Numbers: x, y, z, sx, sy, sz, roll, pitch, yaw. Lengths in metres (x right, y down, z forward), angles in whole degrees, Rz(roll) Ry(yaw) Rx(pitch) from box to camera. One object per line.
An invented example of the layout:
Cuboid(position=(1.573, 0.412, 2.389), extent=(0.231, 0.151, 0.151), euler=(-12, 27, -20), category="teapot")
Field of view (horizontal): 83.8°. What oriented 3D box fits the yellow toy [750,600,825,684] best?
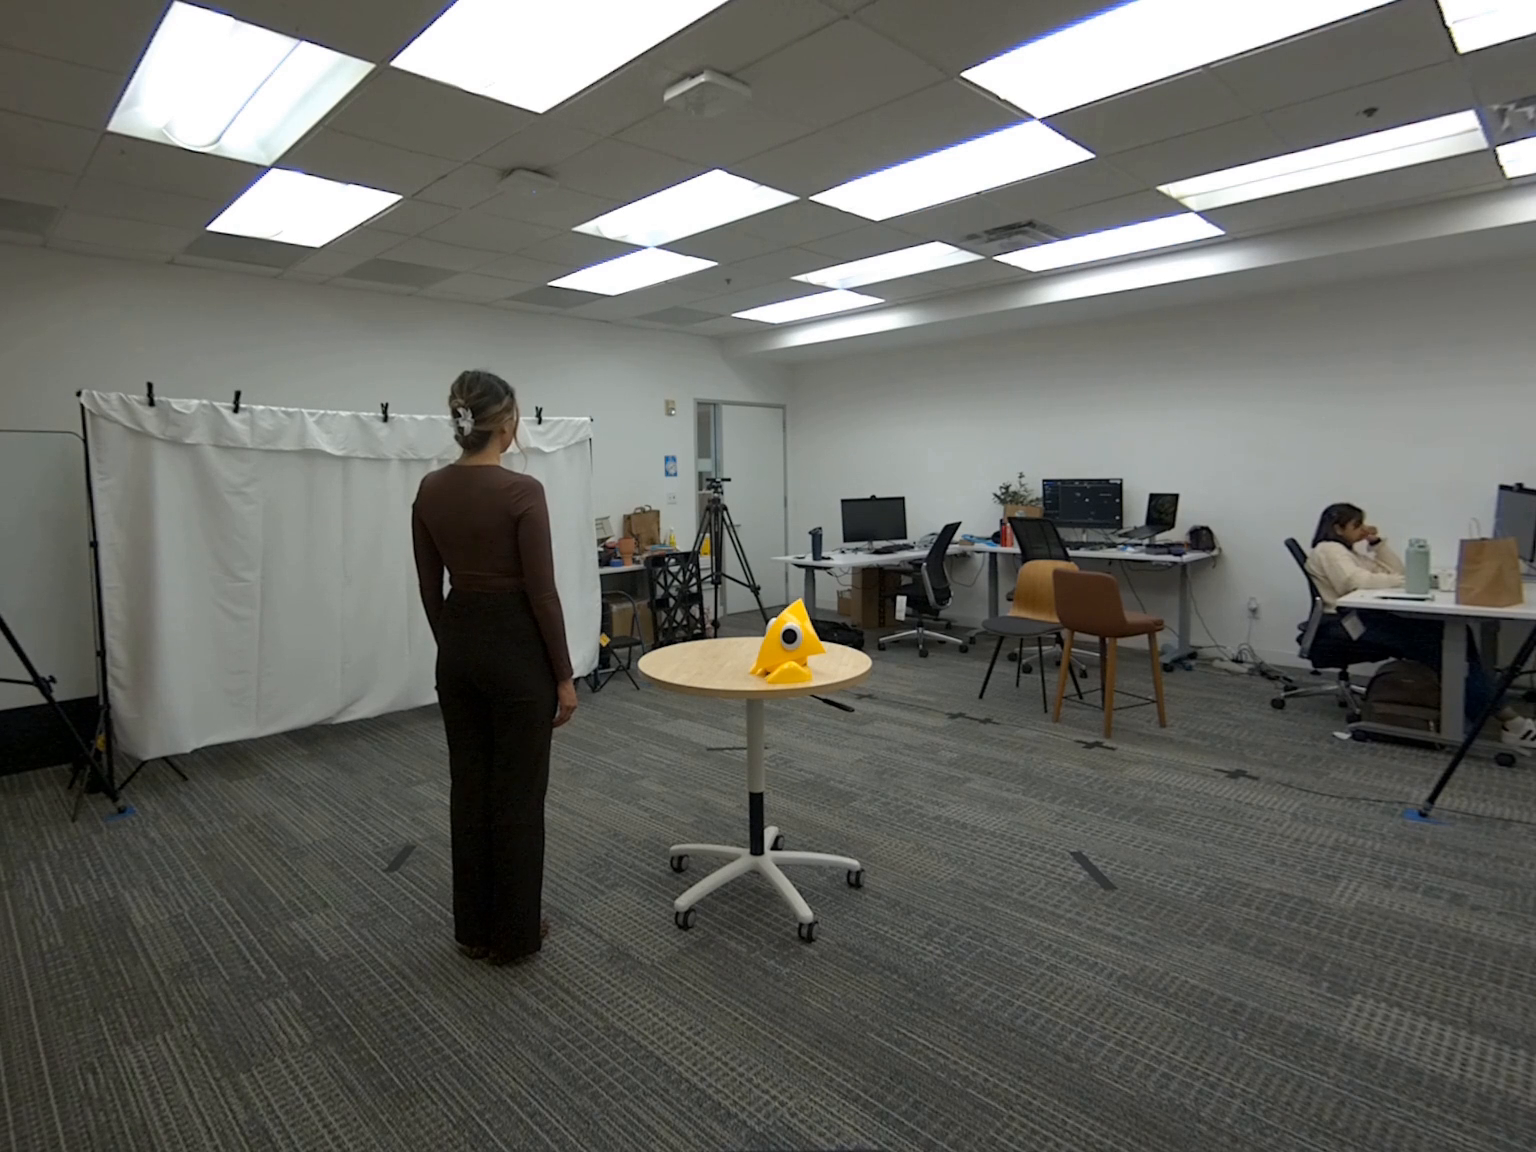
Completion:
Cuboid(position=(0.054, 0.192, 2.603), extent=(0.189, 0.229, 0.210), euler=(-4, 6, -24), category="yellow toy")
